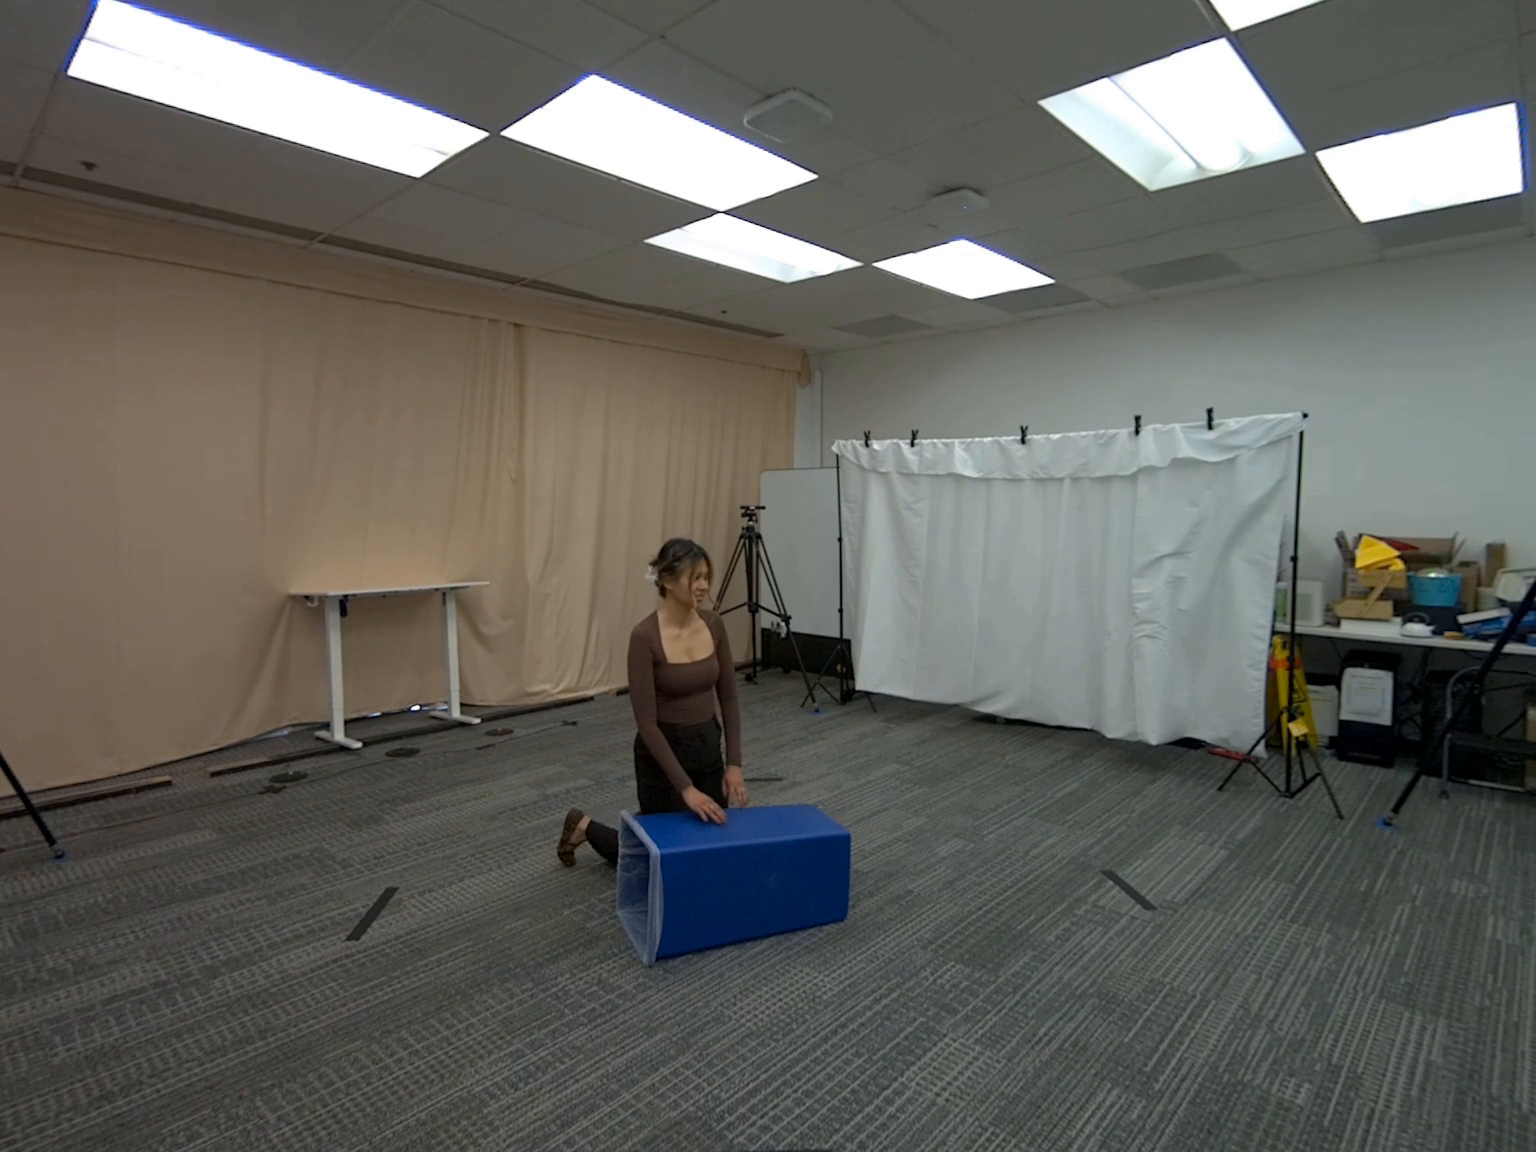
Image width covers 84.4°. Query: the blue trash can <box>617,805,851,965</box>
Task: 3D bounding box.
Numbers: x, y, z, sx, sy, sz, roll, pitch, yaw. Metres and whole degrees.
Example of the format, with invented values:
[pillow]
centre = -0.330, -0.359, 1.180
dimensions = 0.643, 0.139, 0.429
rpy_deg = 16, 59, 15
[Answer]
[blue trash can]
centre = -0.107, 0.983, 2.818
dimensions = 0.698, 0.377, 0.383
rpy_deg = 0, 3, -22
